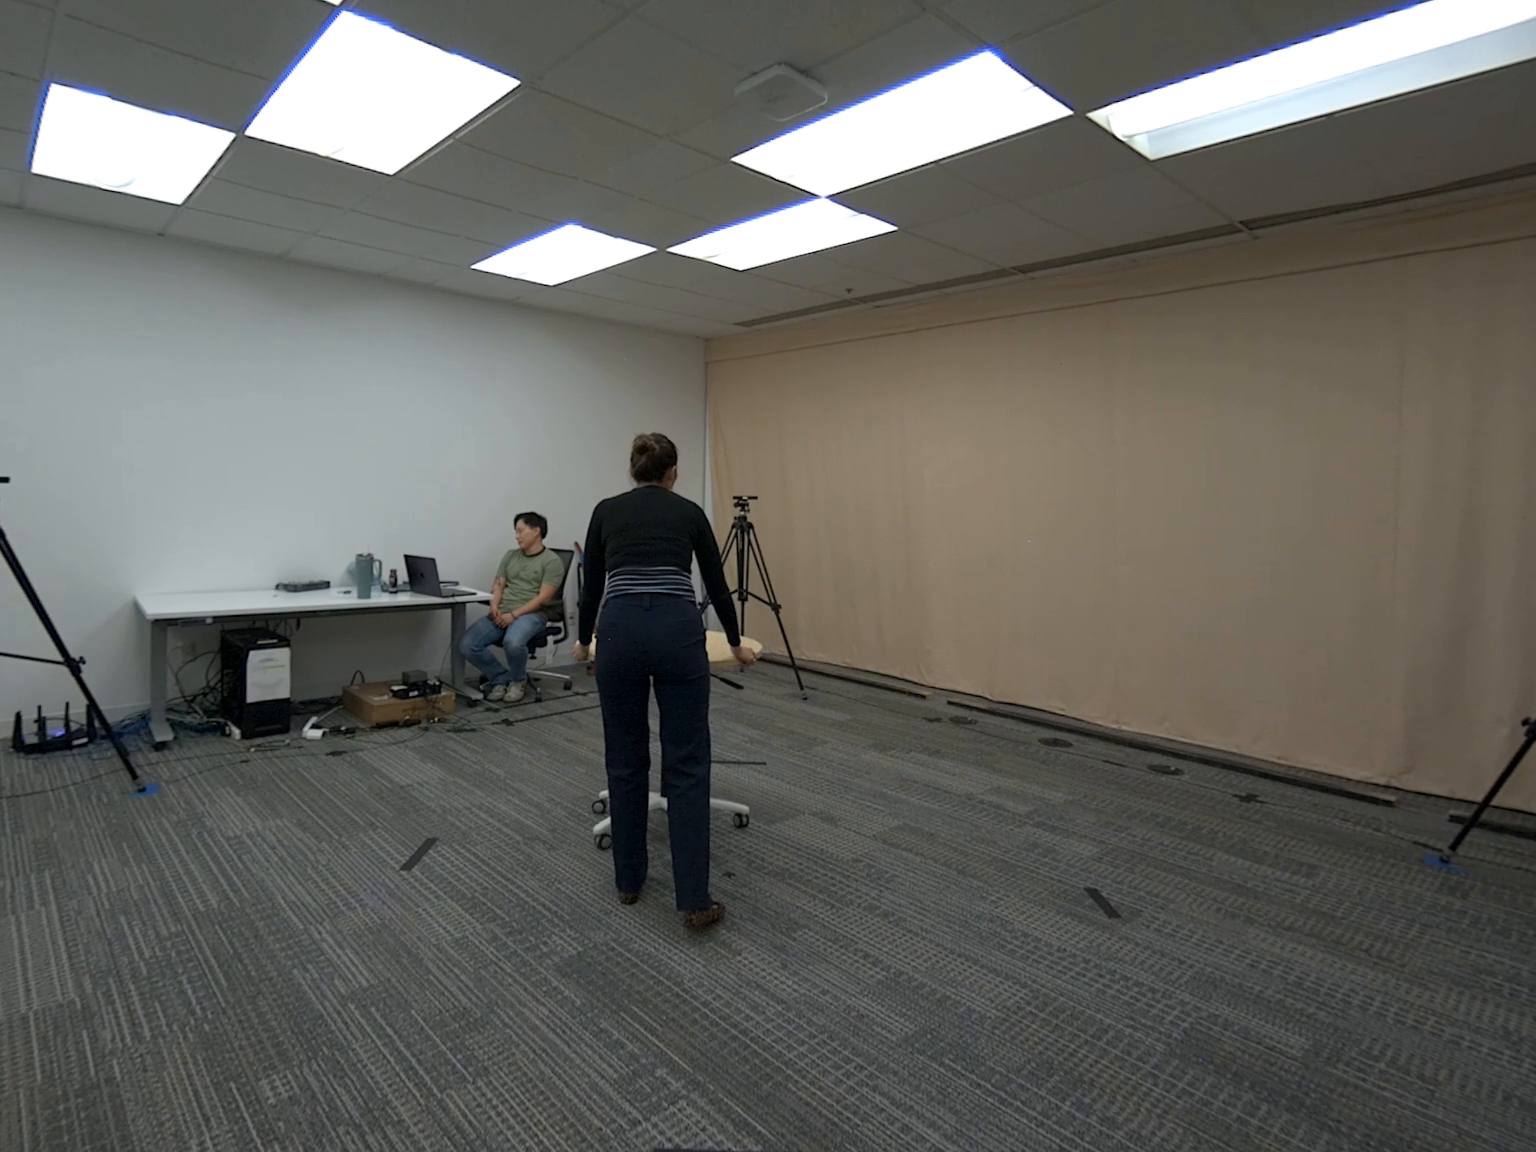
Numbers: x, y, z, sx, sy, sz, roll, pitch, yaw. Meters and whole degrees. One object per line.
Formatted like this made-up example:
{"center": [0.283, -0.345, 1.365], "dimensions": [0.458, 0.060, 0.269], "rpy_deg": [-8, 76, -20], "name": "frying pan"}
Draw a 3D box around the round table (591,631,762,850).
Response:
{"center": [-0.424, 0.676, 3.499], "dimensions": [0.763, 0.792, 0.767], "rpy_deg": [2, 4, -1], "name": "round table"}
